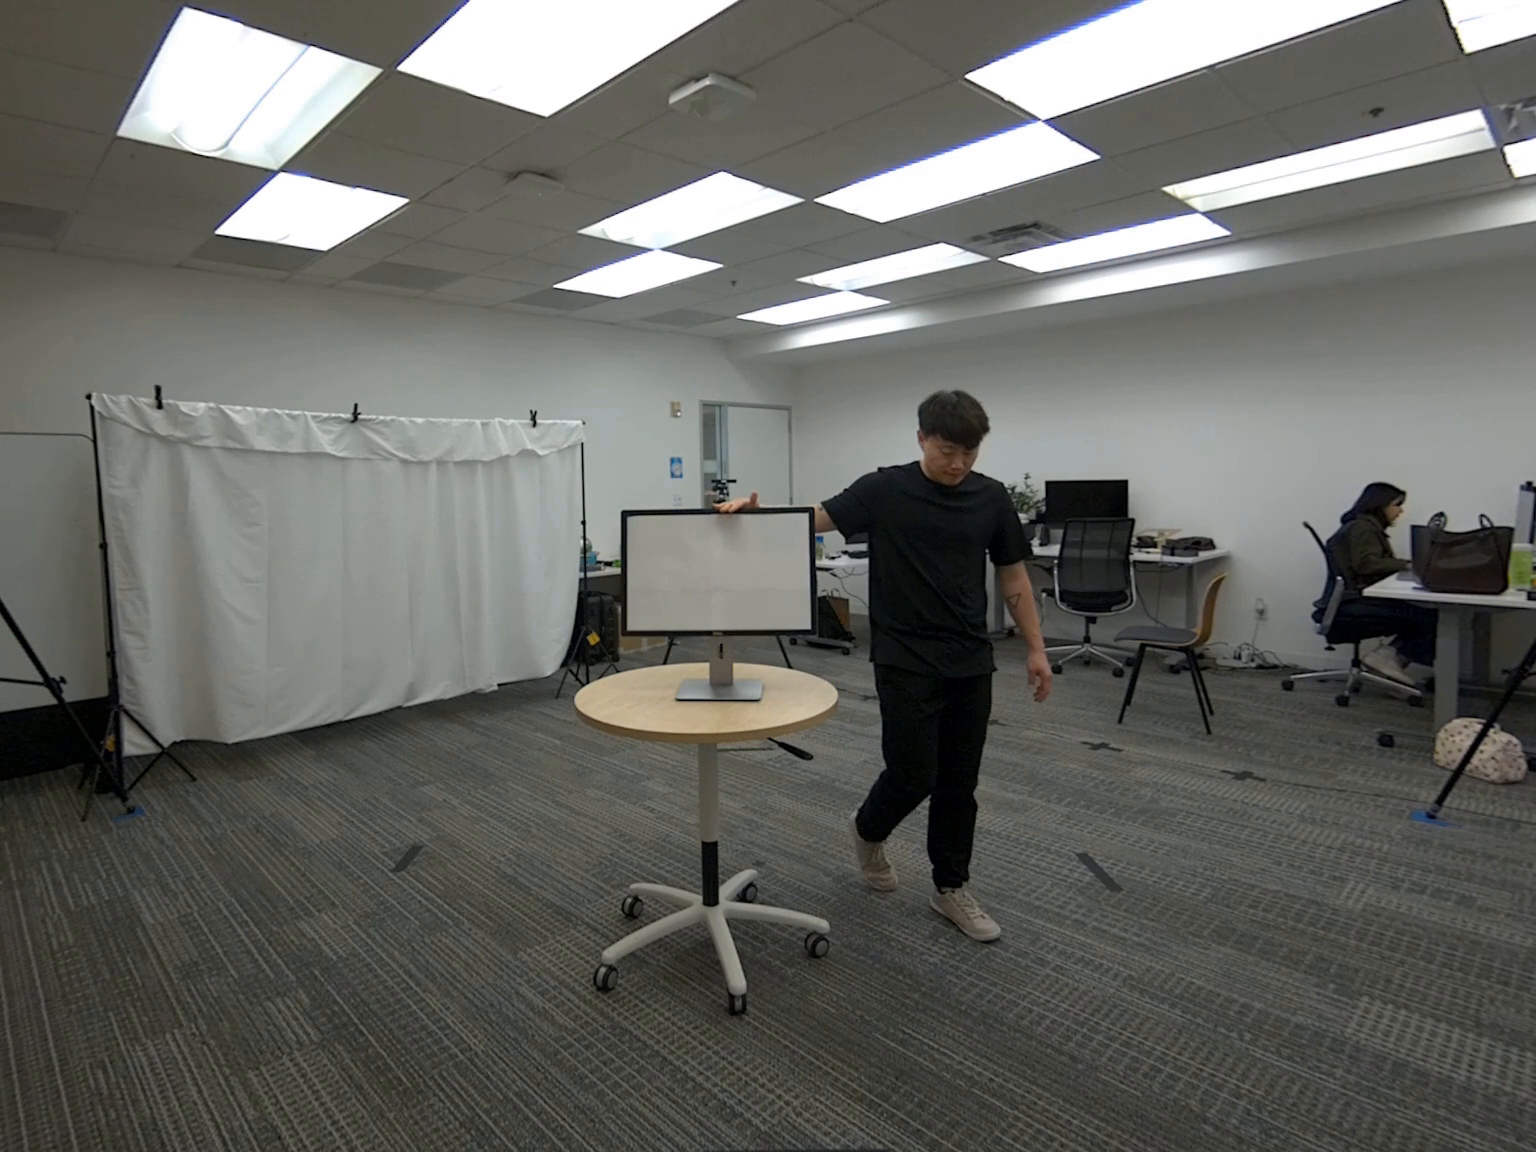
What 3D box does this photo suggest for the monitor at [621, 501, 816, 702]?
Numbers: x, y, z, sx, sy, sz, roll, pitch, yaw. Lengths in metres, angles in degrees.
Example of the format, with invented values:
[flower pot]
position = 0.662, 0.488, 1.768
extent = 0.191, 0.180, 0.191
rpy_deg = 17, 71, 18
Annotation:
[monitor]
position = -0.139, 0.078, 2.486
extent = 0.540, 0.520, 0.187
rpy_deg = -1, 6, 3
